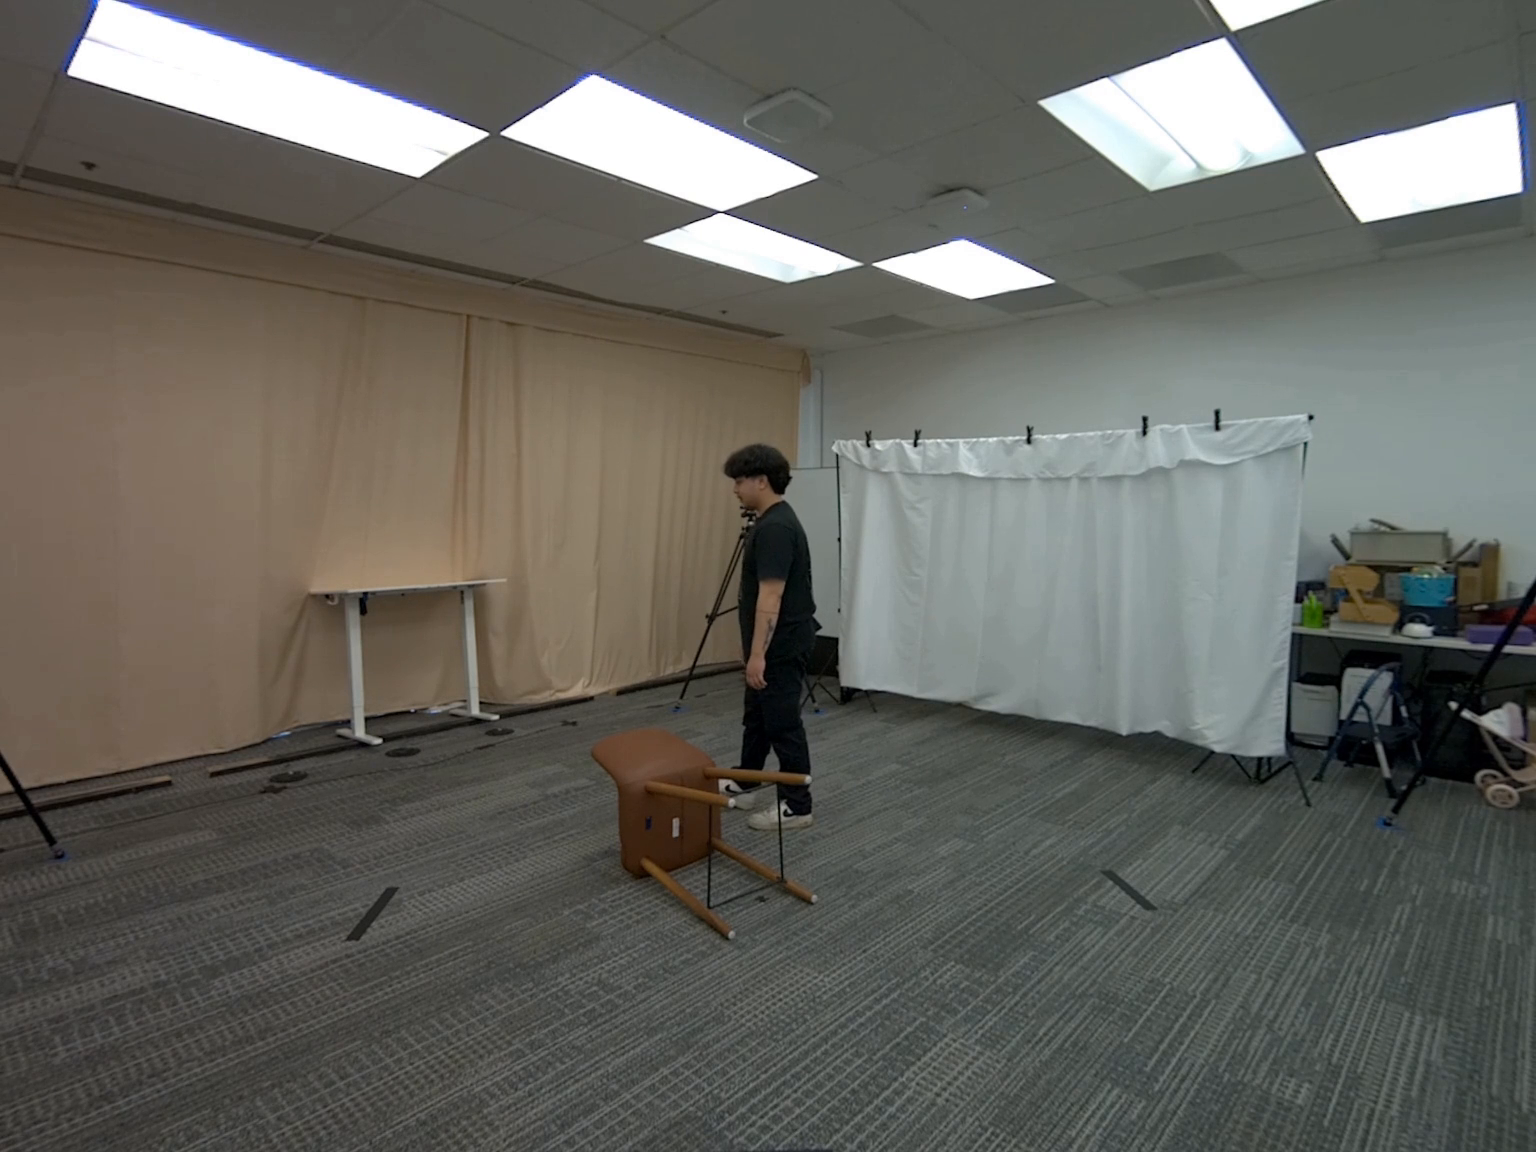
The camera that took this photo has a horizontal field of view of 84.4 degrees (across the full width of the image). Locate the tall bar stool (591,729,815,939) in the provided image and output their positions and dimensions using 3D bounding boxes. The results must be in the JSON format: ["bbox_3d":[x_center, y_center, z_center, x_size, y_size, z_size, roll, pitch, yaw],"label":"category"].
[{"bbox_3d":[-0.276,0.904,3.151,0.443,0.466,0.920,-5,7,-41],"label":"tall bar stool"}]
